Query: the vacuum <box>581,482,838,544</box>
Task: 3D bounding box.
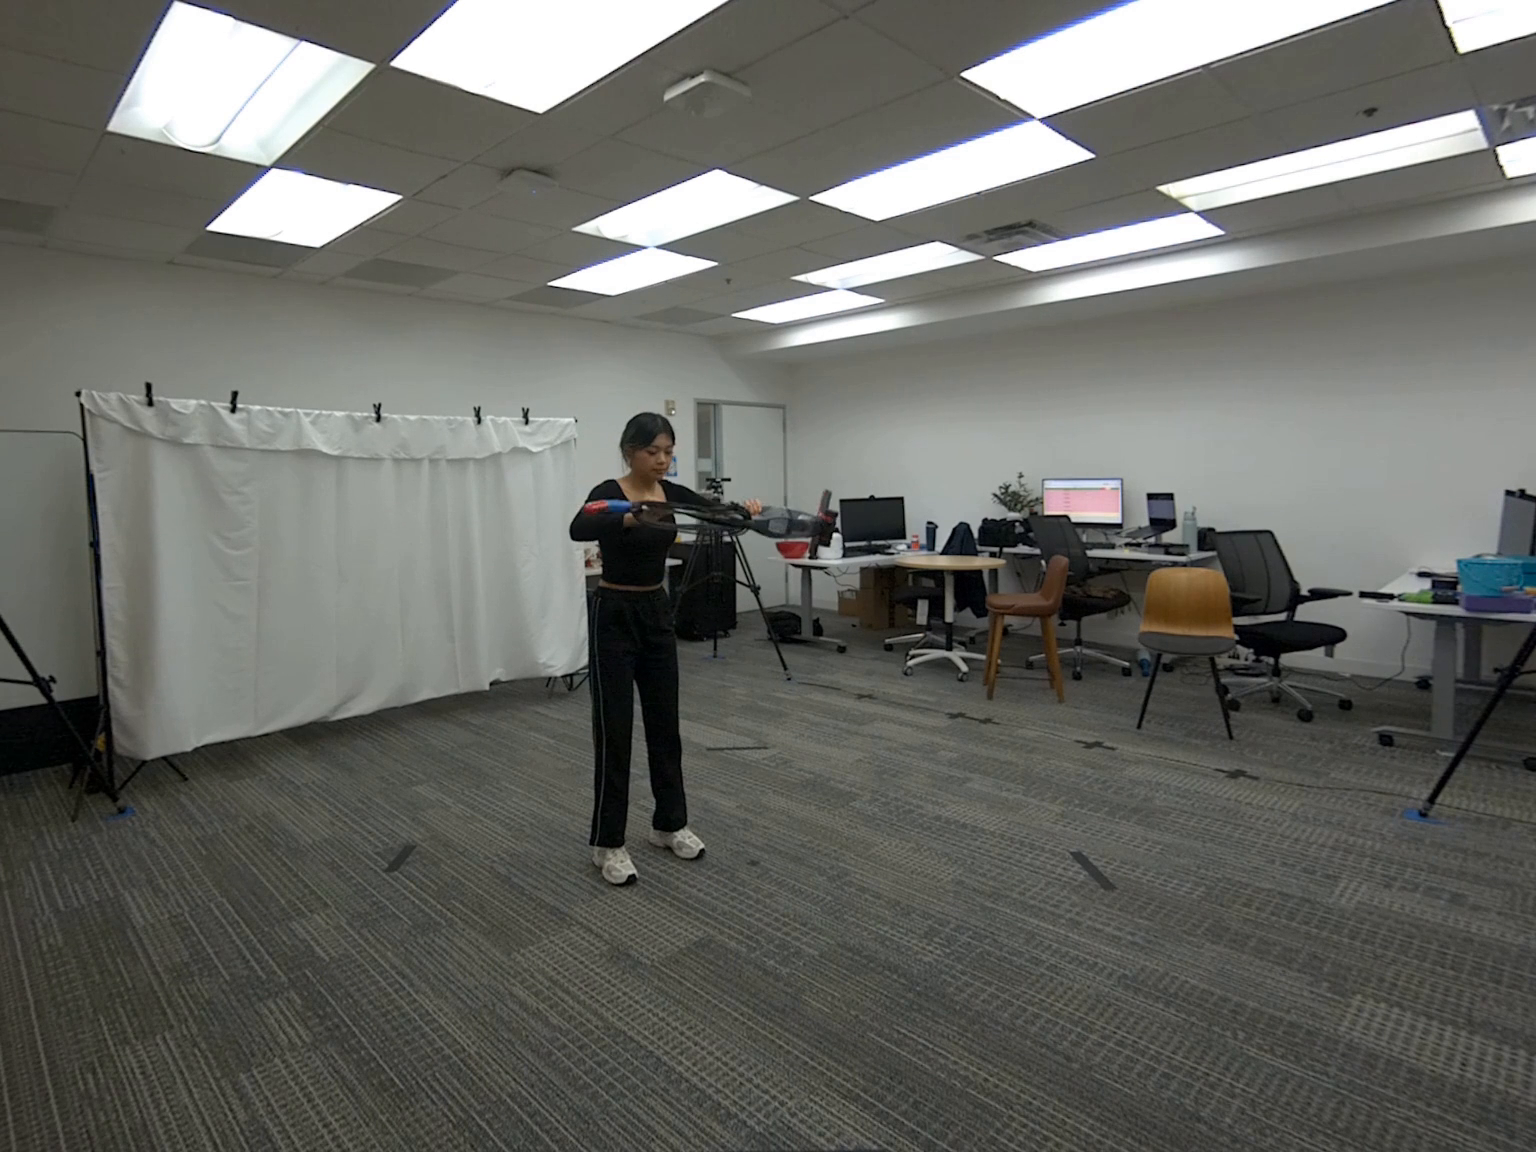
[{"bbox_3d":[-0.148,-0.184,2.767,1.019,0.250,0.149,-1,24,-44],"label":"vacuum"}]
